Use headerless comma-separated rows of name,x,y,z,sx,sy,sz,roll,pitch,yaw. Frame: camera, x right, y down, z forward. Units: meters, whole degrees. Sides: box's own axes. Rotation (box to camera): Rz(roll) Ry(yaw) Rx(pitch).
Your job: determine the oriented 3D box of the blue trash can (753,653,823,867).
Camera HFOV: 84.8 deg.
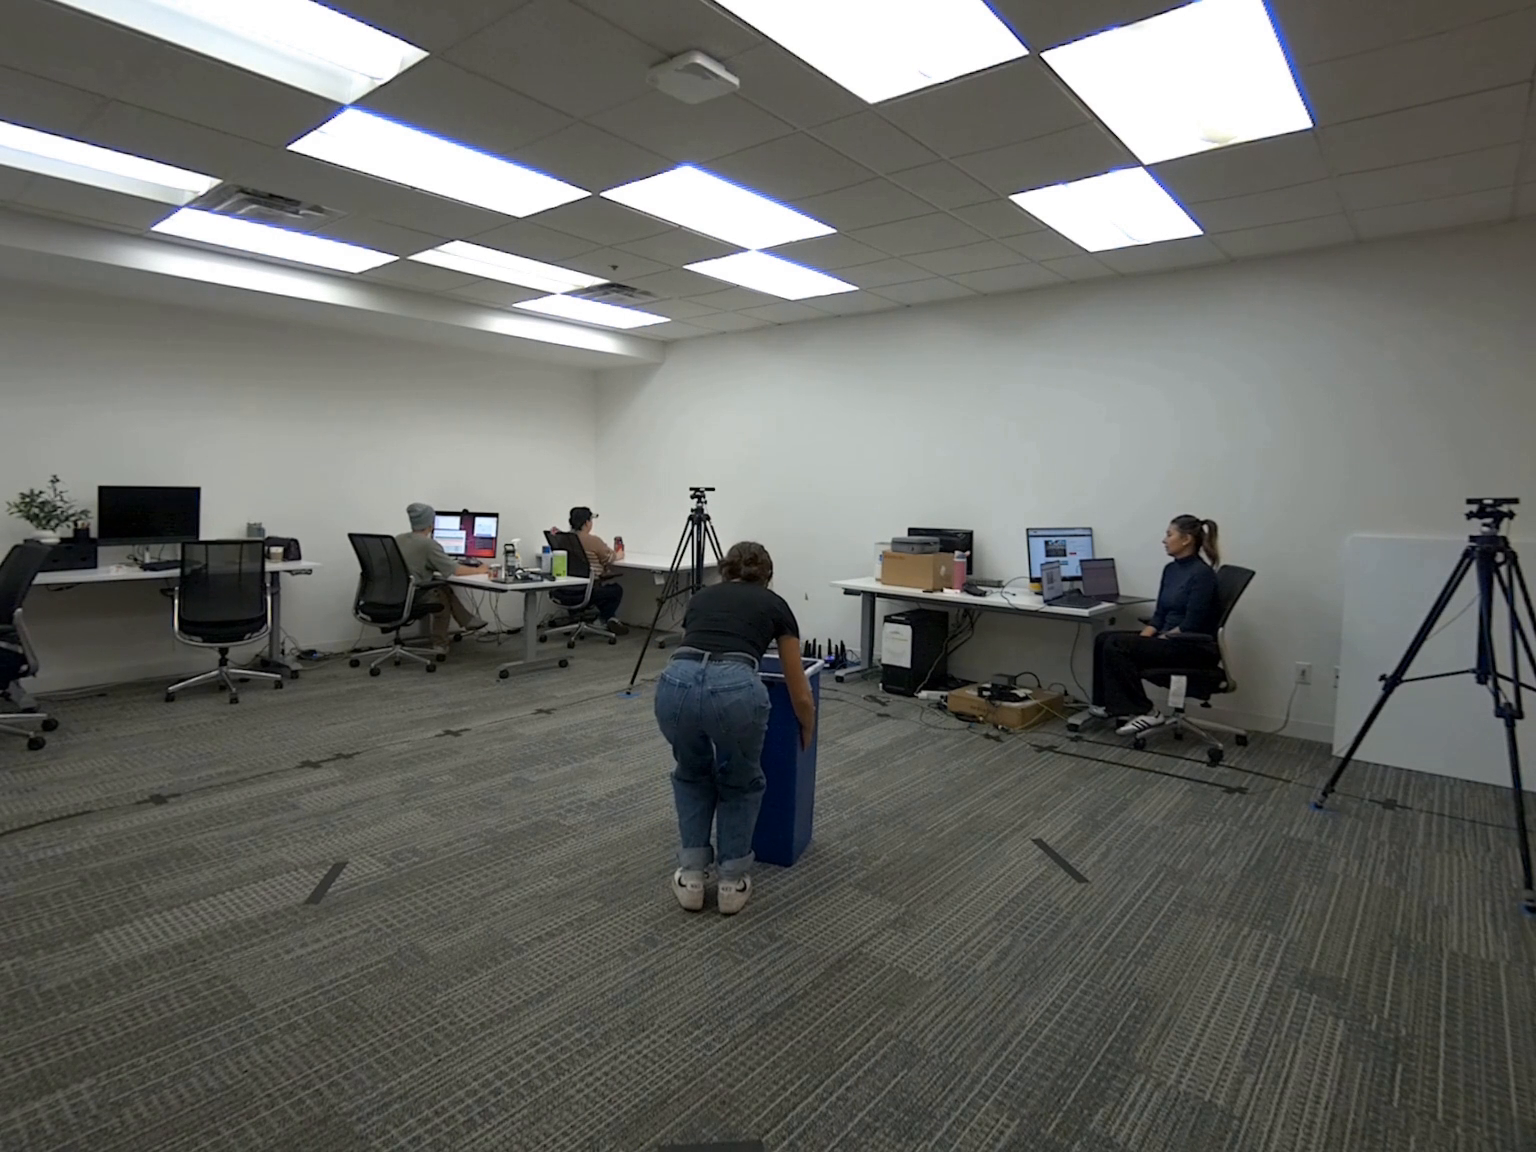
blue trash can,-0.016,0.693,3.309,0.382,0.712,0.371,3,3,20
